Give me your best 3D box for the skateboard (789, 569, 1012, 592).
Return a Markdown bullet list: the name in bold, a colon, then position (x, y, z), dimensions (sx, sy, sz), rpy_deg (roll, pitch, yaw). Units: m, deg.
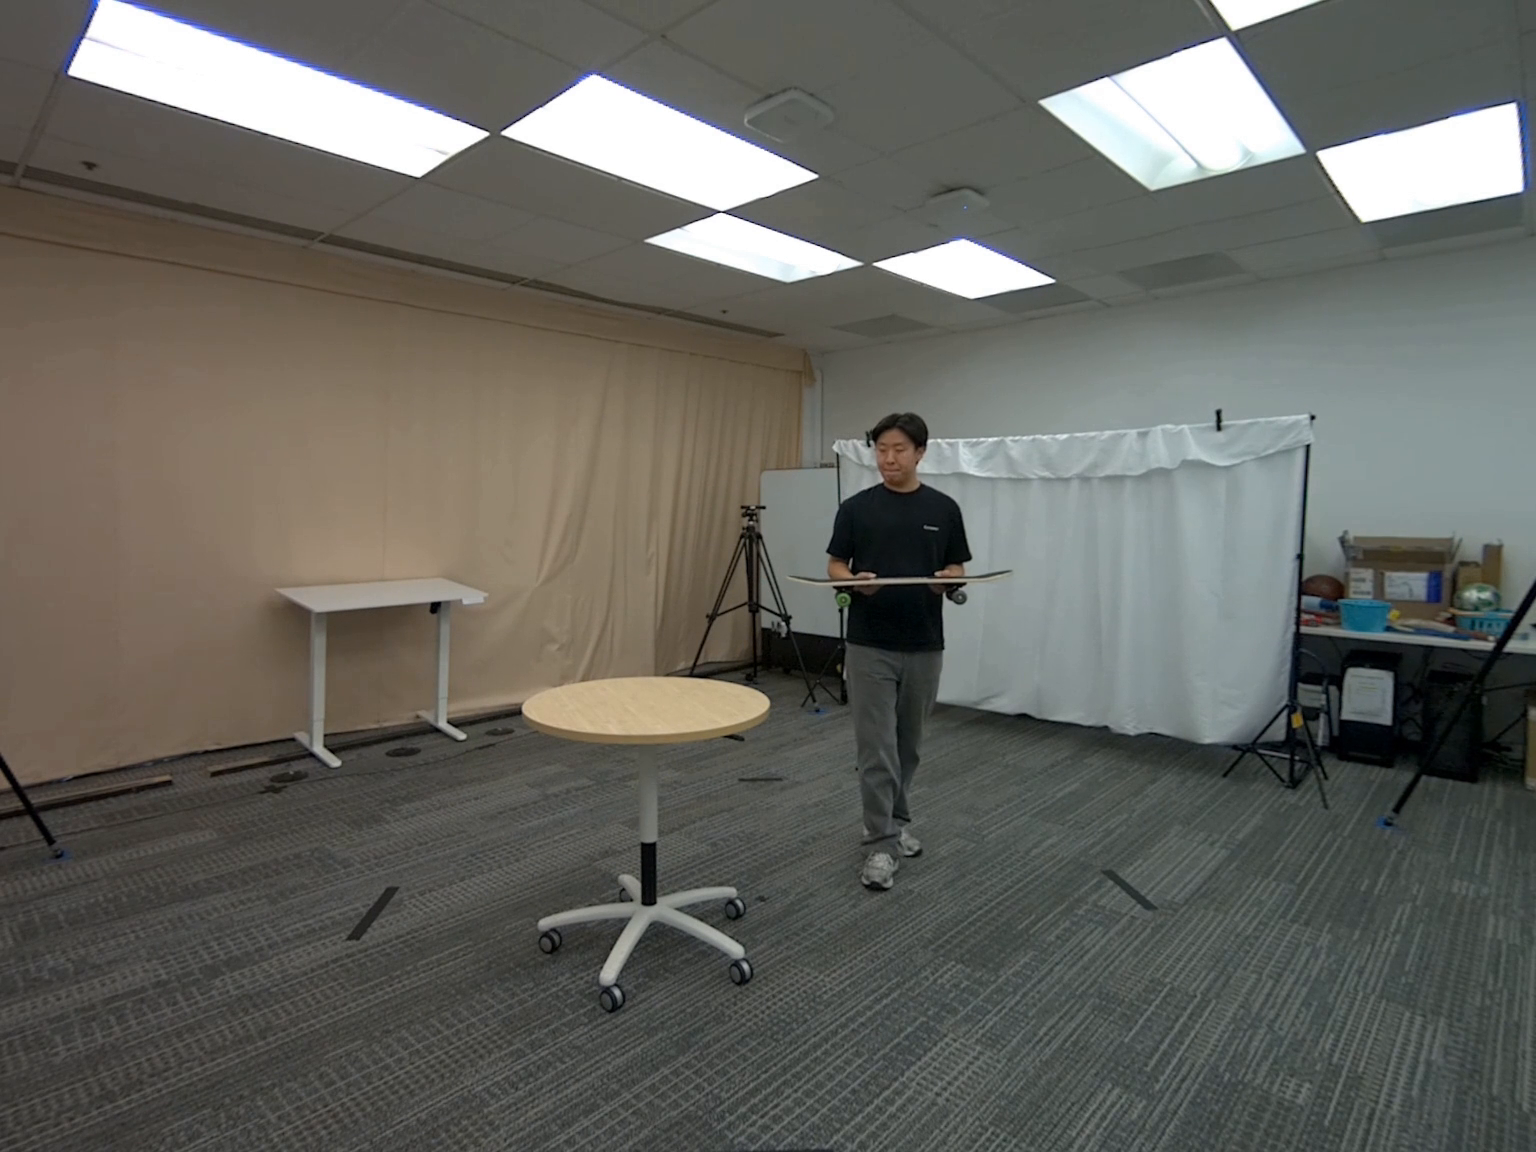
- **skateboard**: position (0.472, 0.050, 3.032), dimensions (0.794, 0.110, 0.191), rpy_deg (-2, 3, 10)
